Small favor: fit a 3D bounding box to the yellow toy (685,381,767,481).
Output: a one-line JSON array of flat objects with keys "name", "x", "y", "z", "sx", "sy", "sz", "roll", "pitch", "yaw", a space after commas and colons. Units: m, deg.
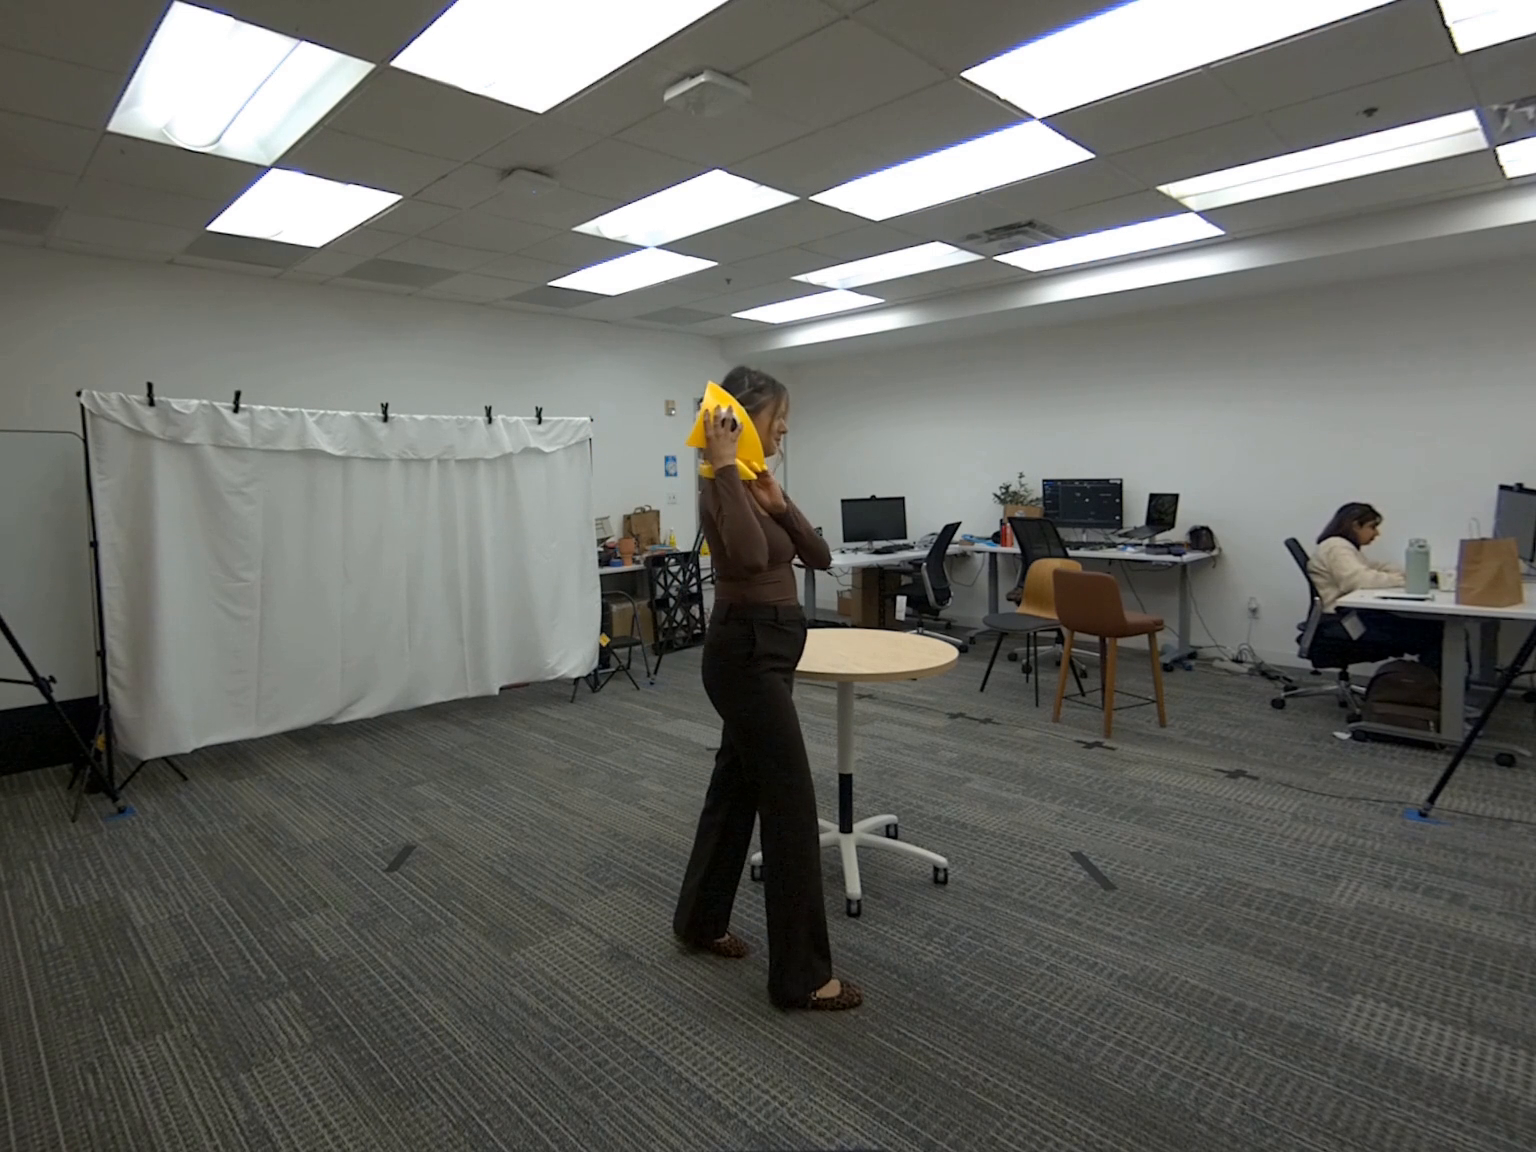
[{"name": "yellow toy", "x": -0.096, "y": -0.383, "z": 2.200, "sx": 0.196, "sy": 0.227, "sz": 0.205, "roll": 7, "pitch": 18, "yaw": 13}]
